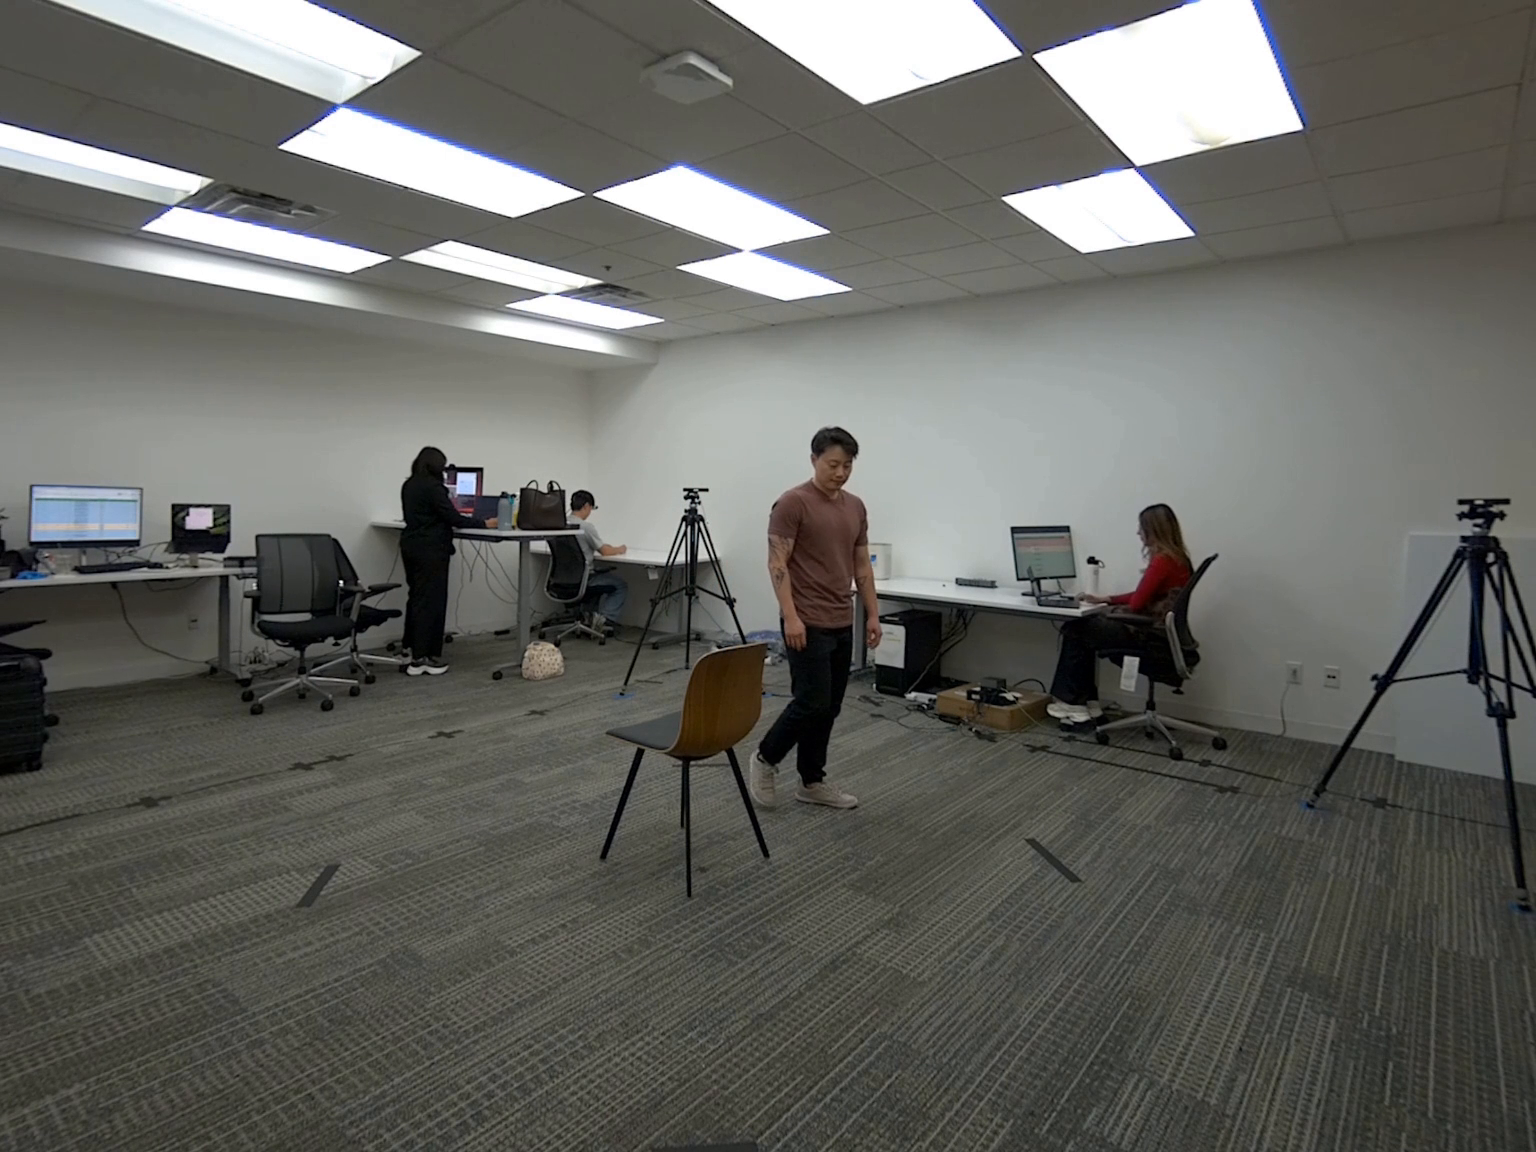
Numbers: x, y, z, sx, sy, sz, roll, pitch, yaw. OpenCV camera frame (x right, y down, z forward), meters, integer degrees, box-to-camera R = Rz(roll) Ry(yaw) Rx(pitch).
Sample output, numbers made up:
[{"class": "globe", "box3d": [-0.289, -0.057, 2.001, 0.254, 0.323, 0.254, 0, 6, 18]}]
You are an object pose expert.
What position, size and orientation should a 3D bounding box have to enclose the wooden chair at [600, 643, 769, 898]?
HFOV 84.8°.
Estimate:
[{"class": "wooden chair", "box3d": [-0.319, 0.635, 3.178, 0.542, 0.873, 0.464, 9, 7, 38]}]
